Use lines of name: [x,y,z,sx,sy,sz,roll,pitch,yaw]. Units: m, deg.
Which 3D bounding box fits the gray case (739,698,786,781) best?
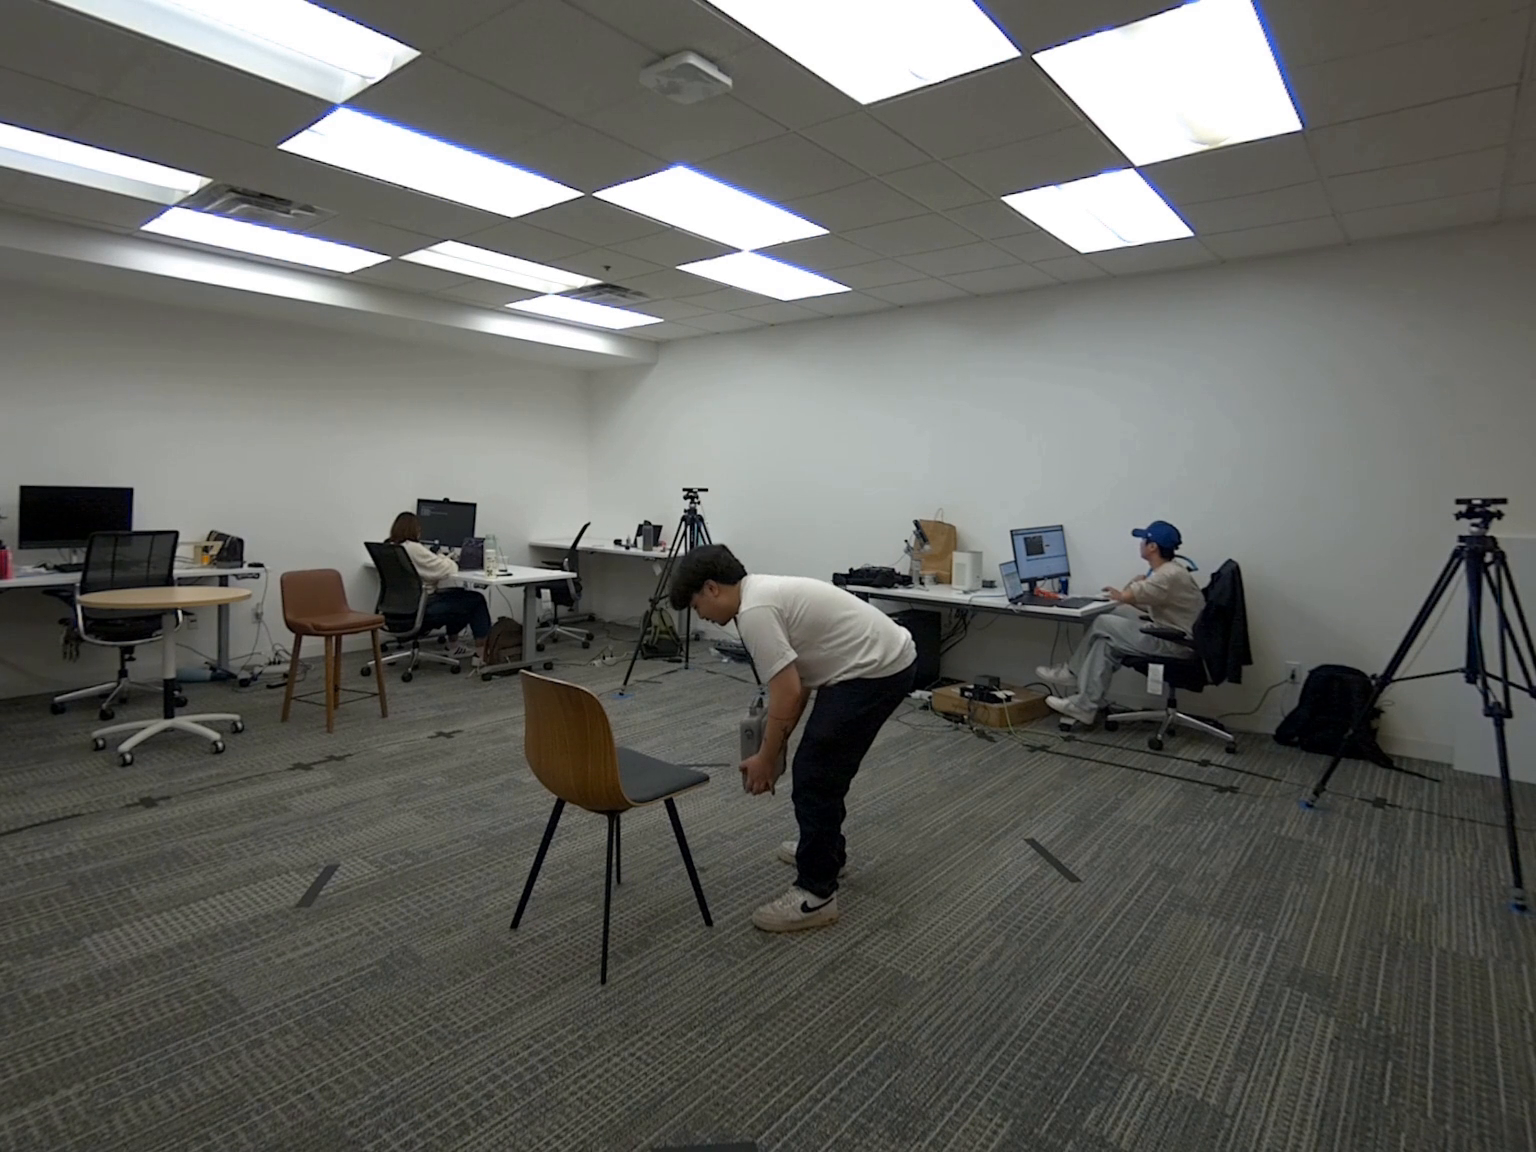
gray case: [-0.036,0.582,2.976,0.106,0.261,0.253,-5,0,13]
